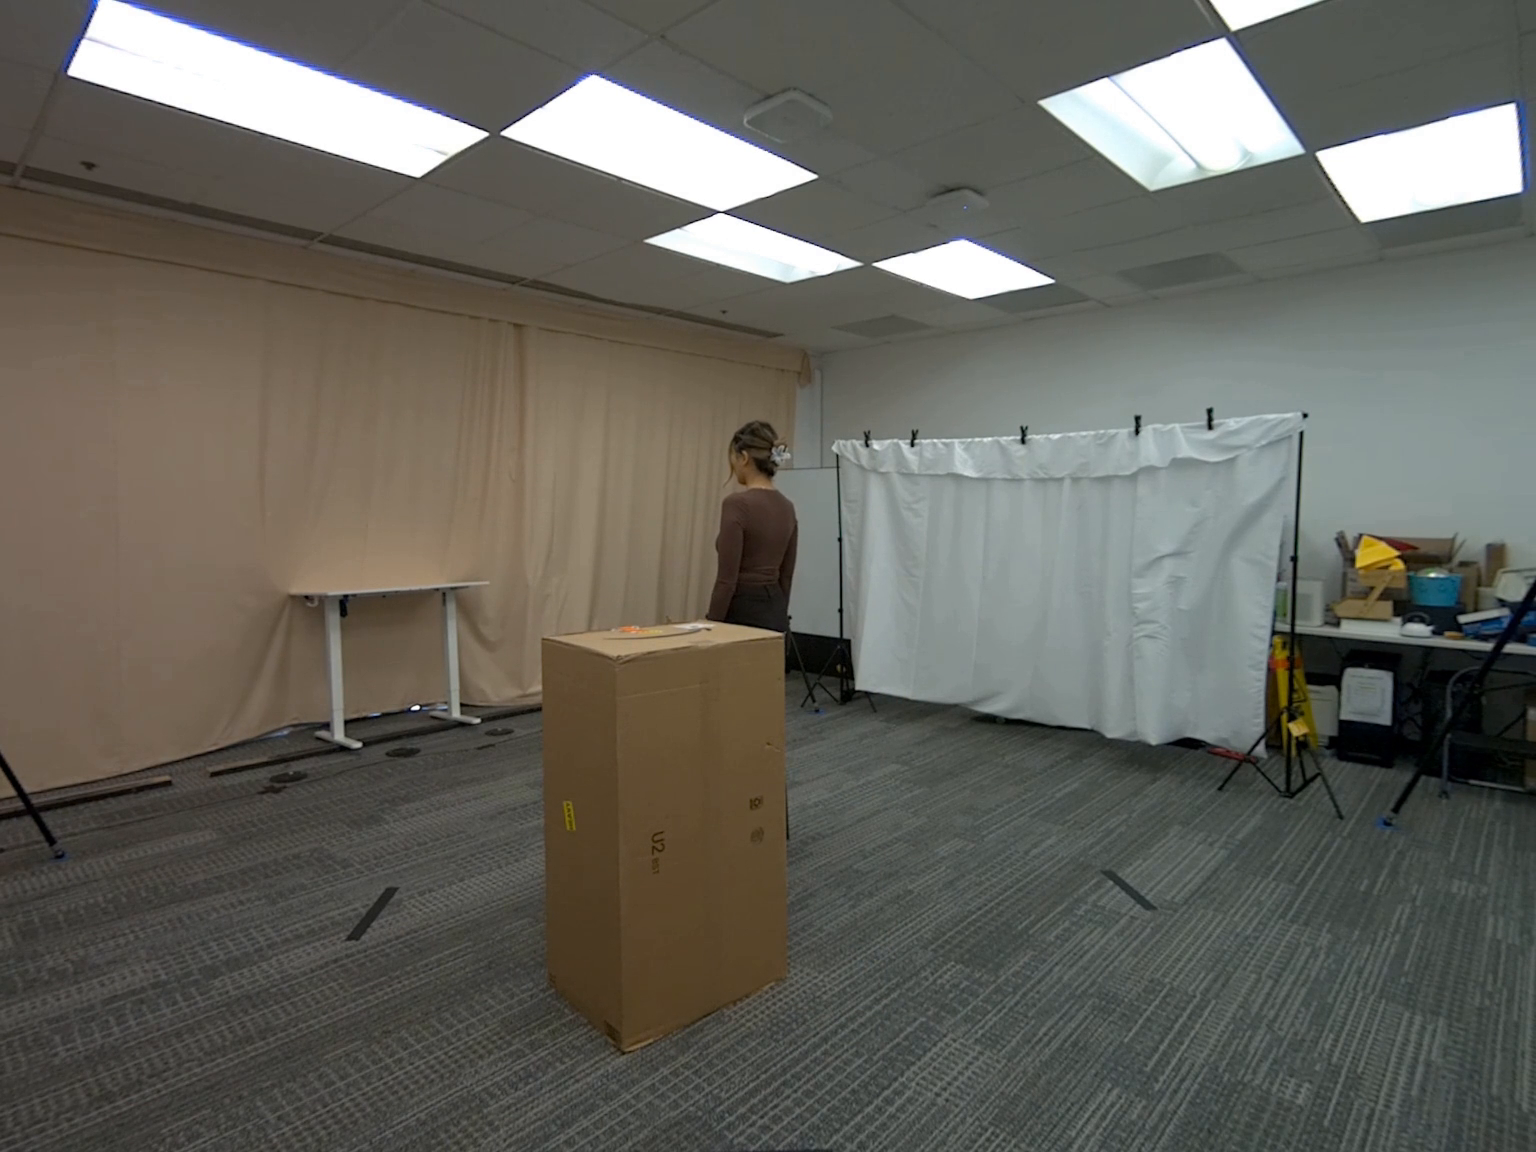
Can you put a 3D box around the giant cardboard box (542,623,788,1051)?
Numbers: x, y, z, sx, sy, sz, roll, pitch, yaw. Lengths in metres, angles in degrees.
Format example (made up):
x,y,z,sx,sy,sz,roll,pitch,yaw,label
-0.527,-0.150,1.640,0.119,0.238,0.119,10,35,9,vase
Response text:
x,y,z,sx,sy,sz,roll,pitch,yaw,label
-0.301,0.682,2.452,0.566,1.025,0.461,-2,3,-38,giant cardboard box
